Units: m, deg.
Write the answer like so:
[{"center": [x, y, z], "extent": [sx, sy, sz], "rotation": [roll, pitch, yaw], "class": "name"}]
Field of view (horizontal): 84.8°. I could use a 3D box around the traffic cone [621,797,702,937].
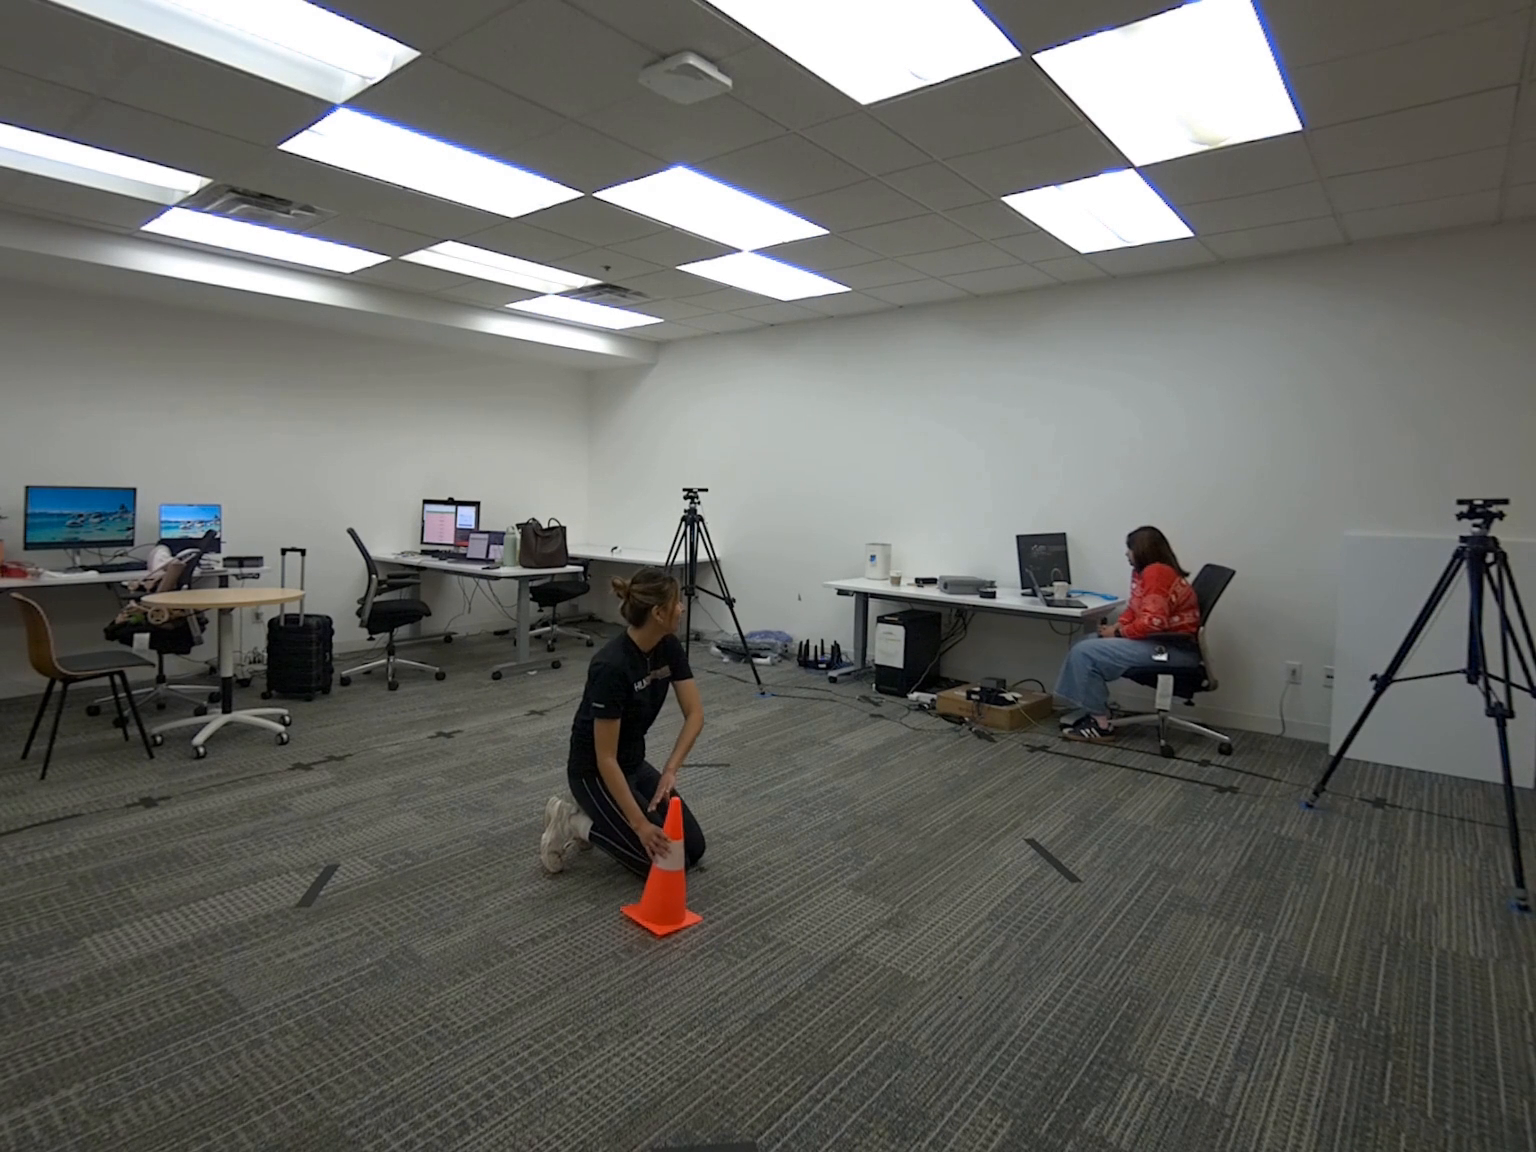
[{"center": [-0.322, 0.906, 2.744], "extent": [0.210, 0.384, 0.198], "rotation": [8, -1, 36], "class": "traffic cone"}]
